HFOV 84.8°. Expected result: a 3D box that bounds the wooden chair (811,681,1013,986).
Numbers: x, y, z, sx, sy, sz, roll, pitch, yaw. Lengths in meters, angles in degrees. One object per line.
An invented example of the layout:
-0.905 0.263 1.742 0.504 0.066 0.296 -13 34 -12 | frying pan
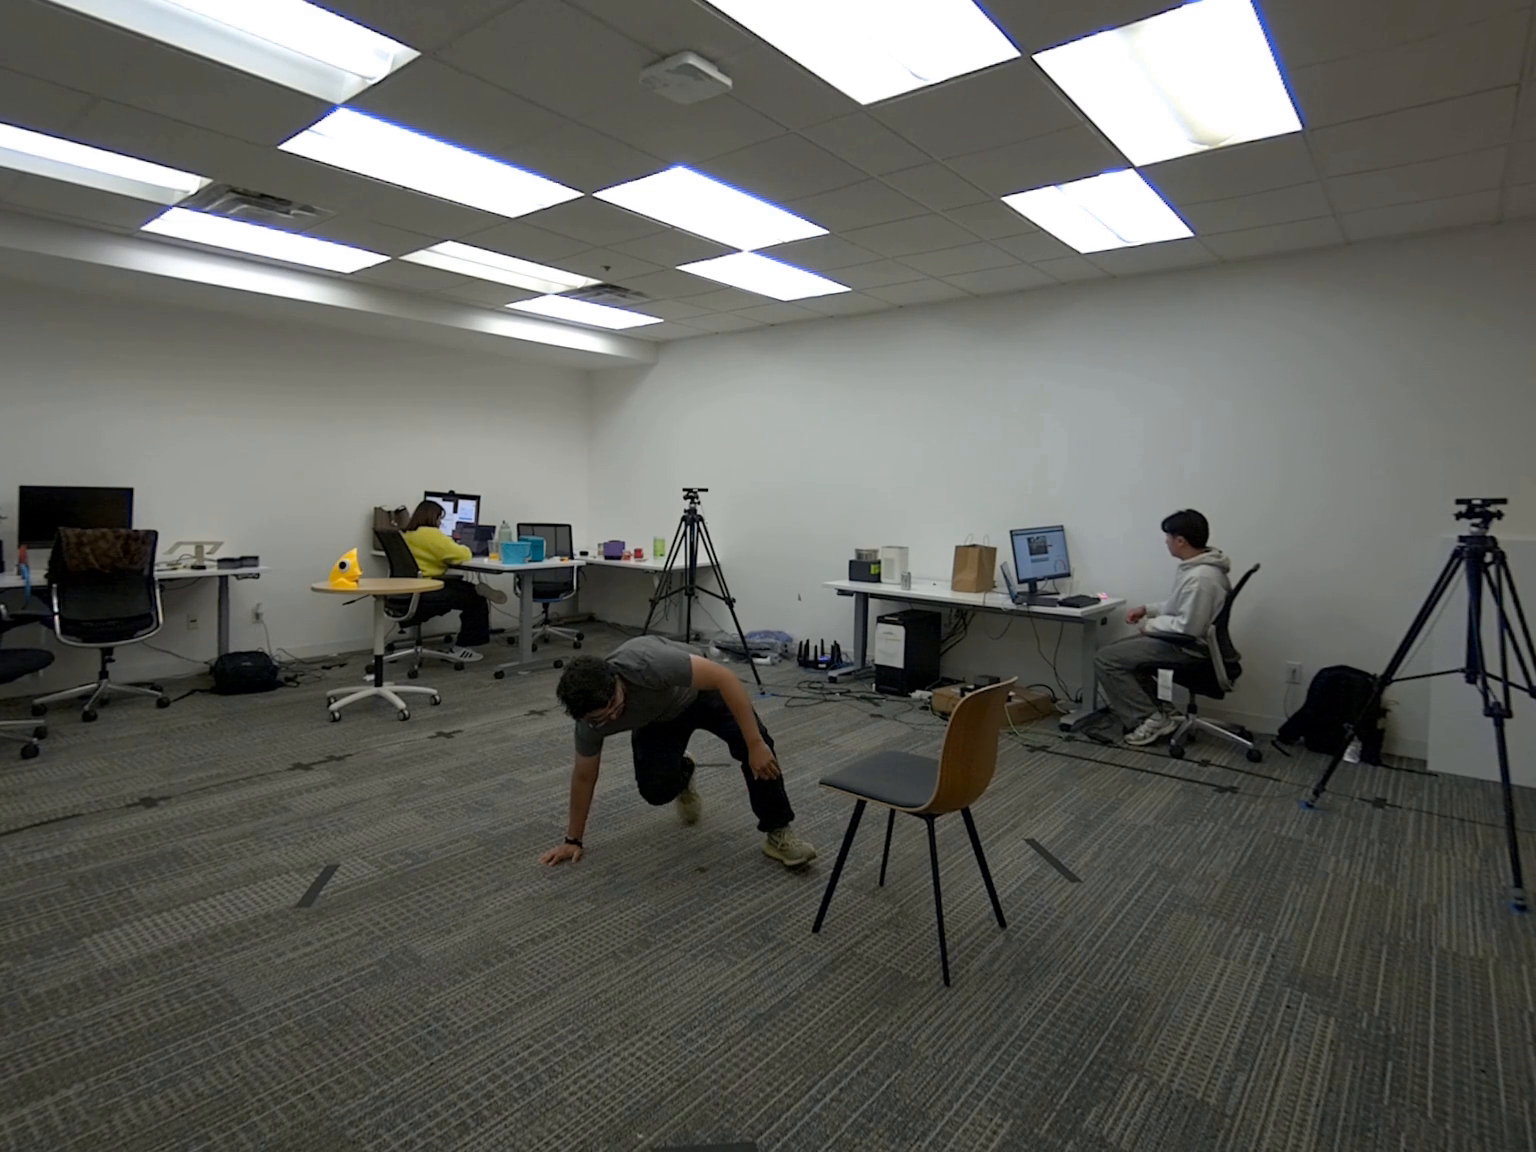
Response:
0.453 0.699 2.688 0.541 0.873 0.464 9 8 37 | wooden chair
